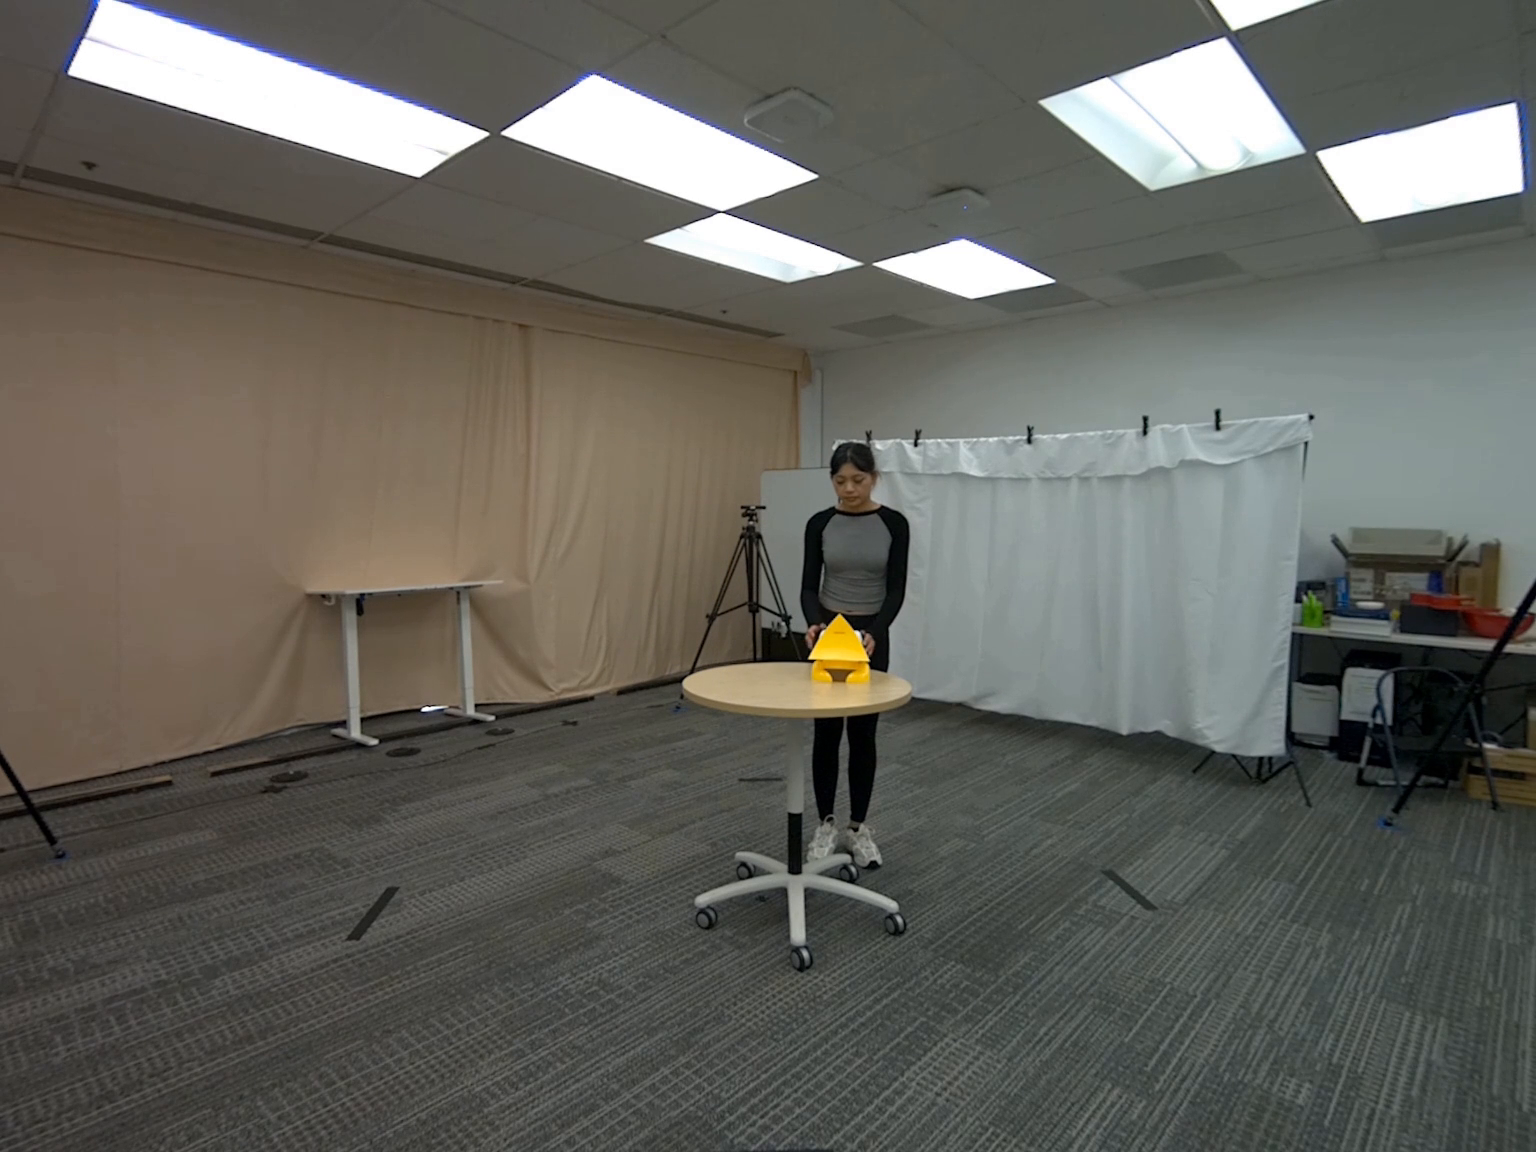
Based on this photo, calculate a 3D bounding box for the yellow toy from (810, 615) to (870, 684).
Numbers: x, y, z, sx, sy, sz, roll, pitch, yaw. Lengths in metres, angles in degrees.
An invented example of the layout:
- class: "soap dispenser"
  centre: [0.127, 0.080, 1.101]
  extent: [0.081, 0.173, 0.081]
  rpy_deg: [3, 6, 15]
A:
- class: "yellow toy"
  centre: [0.249, 0.240, 2.923]
  extent: [0.207, 0.230, 0.191]
  rpy_deg: [2, 4, 11]
